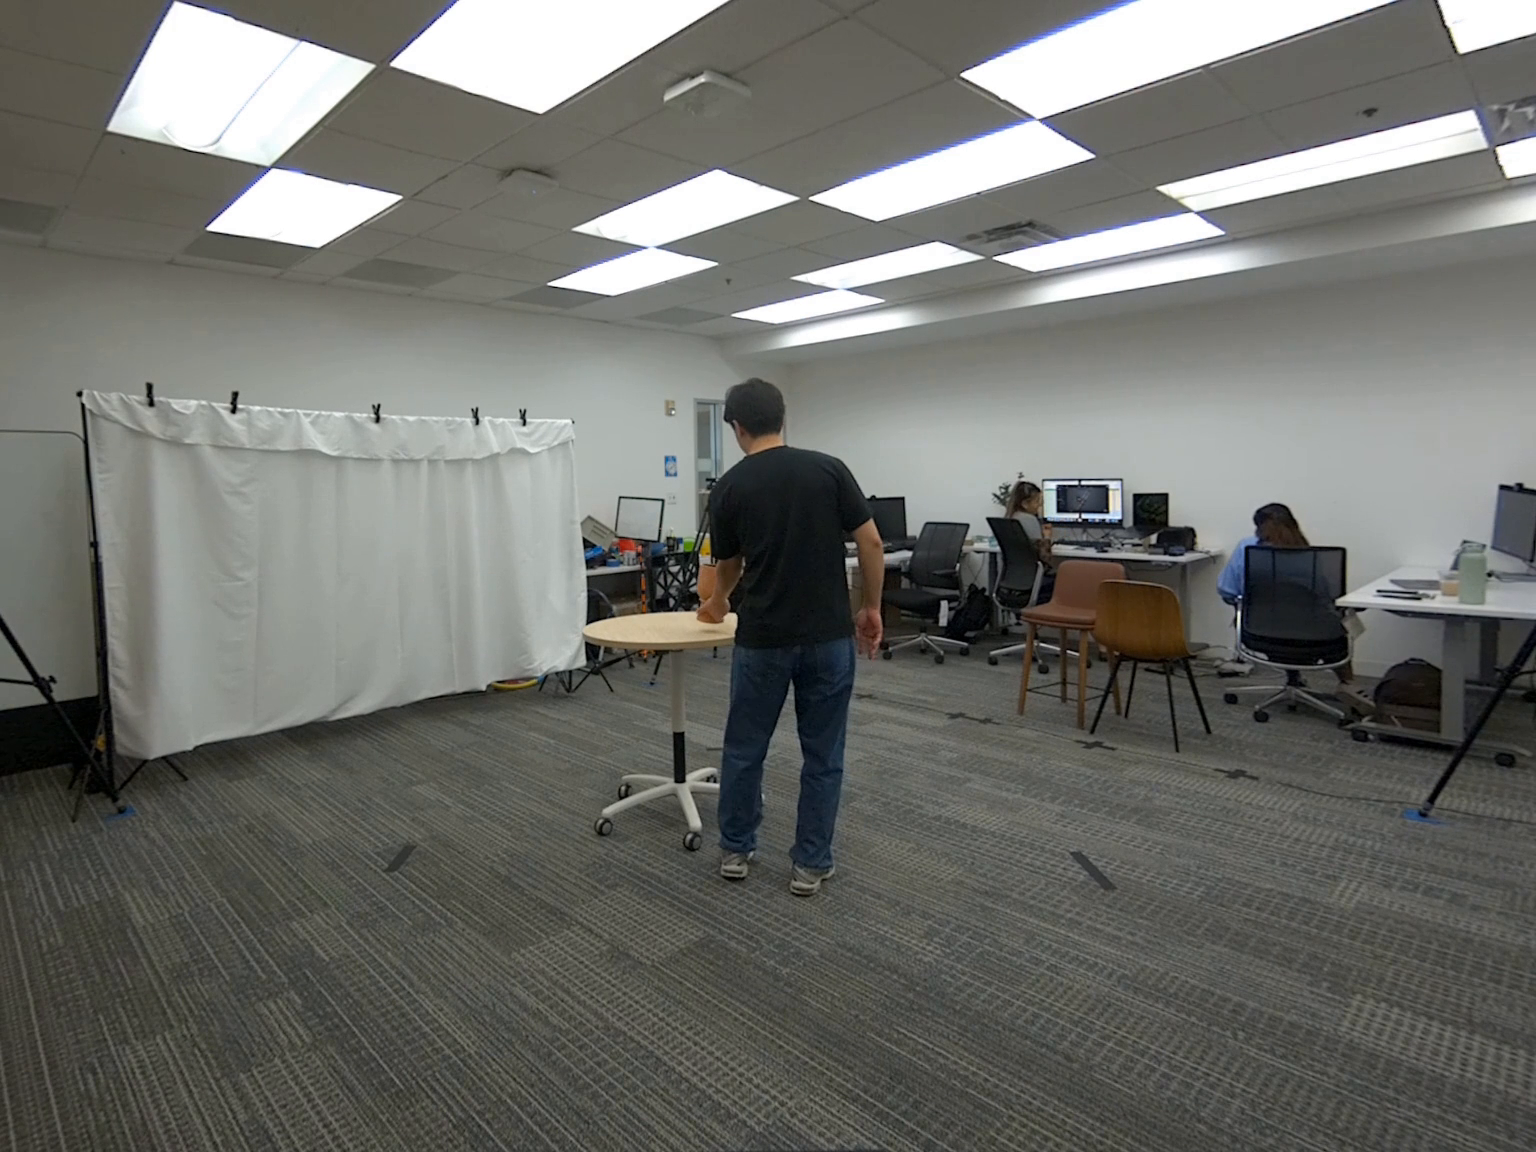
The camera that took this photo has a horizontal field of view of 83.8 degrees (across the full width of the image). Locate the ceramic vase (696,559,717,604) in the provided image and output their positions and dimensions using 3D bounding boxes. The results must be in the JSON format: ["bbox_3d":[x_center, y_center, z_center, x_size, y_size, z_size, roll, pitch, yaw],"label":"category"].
[{"bbox_3d":[-0.210,0.068,3.351,0.136,0.219,0.158,9,4,6],"label":"ceramic vase"}]
